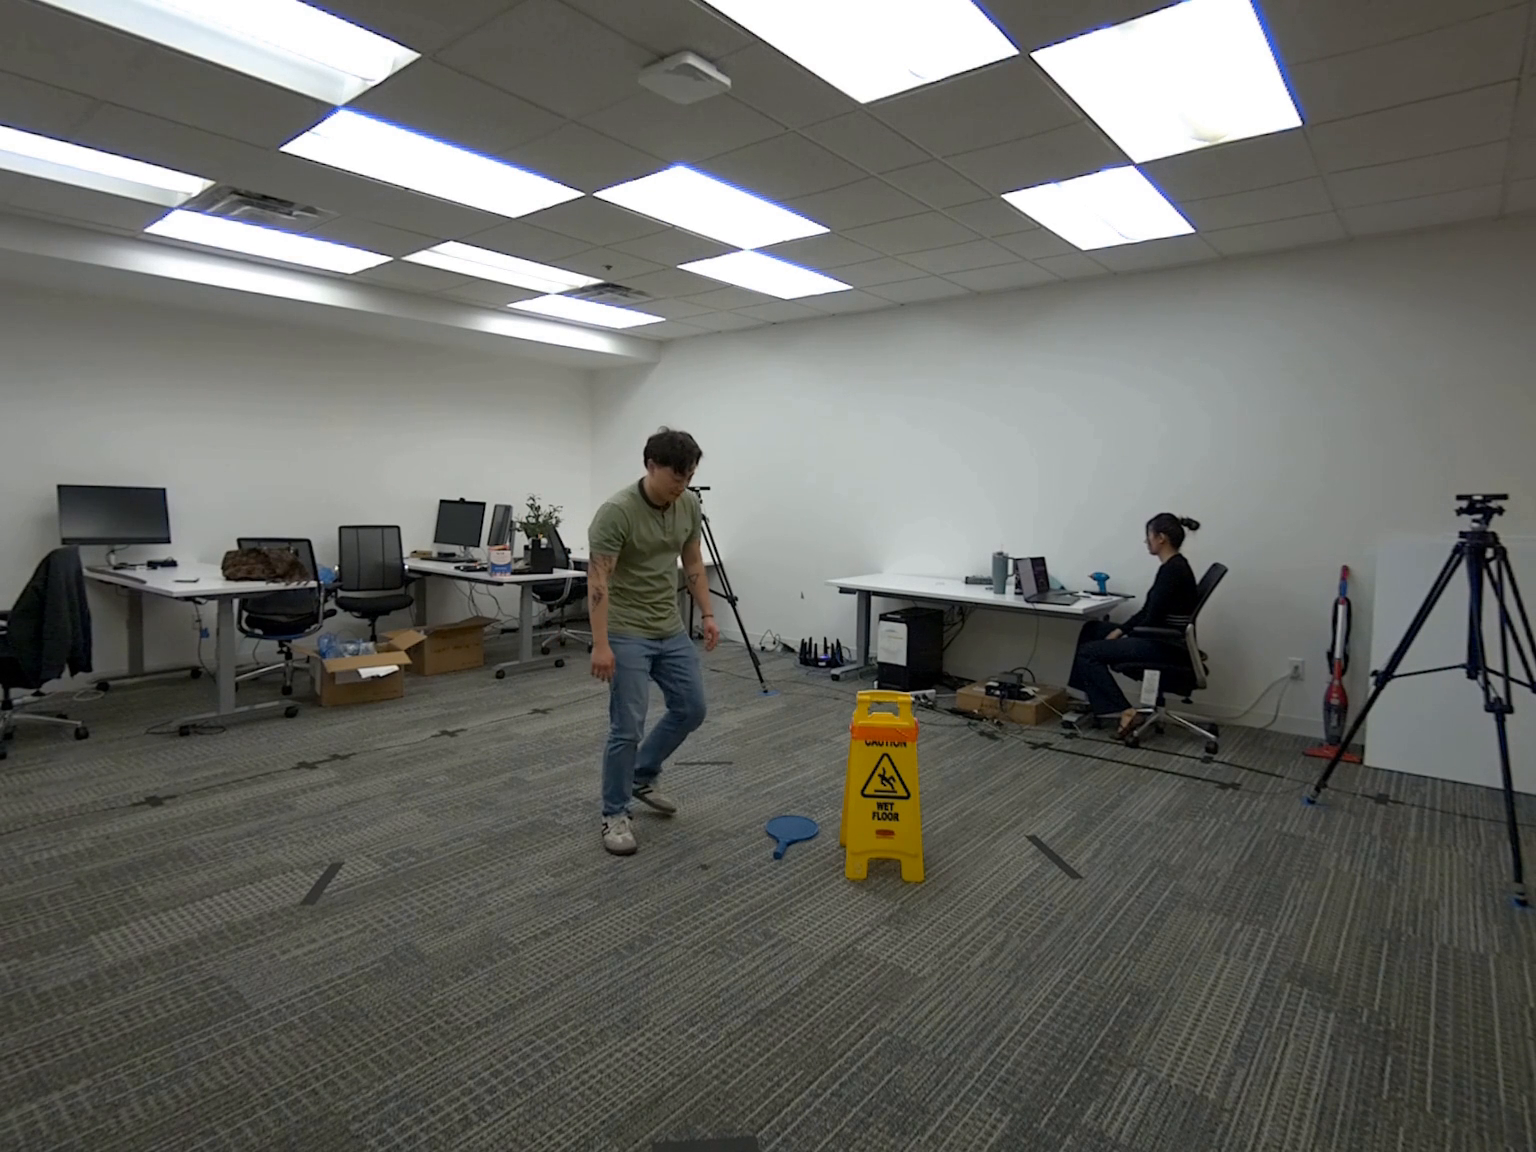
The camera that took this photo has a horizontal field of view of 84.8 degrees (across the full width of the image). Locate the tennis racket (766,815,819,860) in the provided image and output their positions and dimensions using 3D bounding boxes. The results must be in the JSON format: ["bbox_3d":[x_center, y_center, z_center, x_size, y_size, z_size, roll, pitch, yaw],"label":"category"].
[{"bbox_3d":[0.074,1.029,3.392,0.217,0.031,0.428,2,4,11],"label":"tennis racket"}]
